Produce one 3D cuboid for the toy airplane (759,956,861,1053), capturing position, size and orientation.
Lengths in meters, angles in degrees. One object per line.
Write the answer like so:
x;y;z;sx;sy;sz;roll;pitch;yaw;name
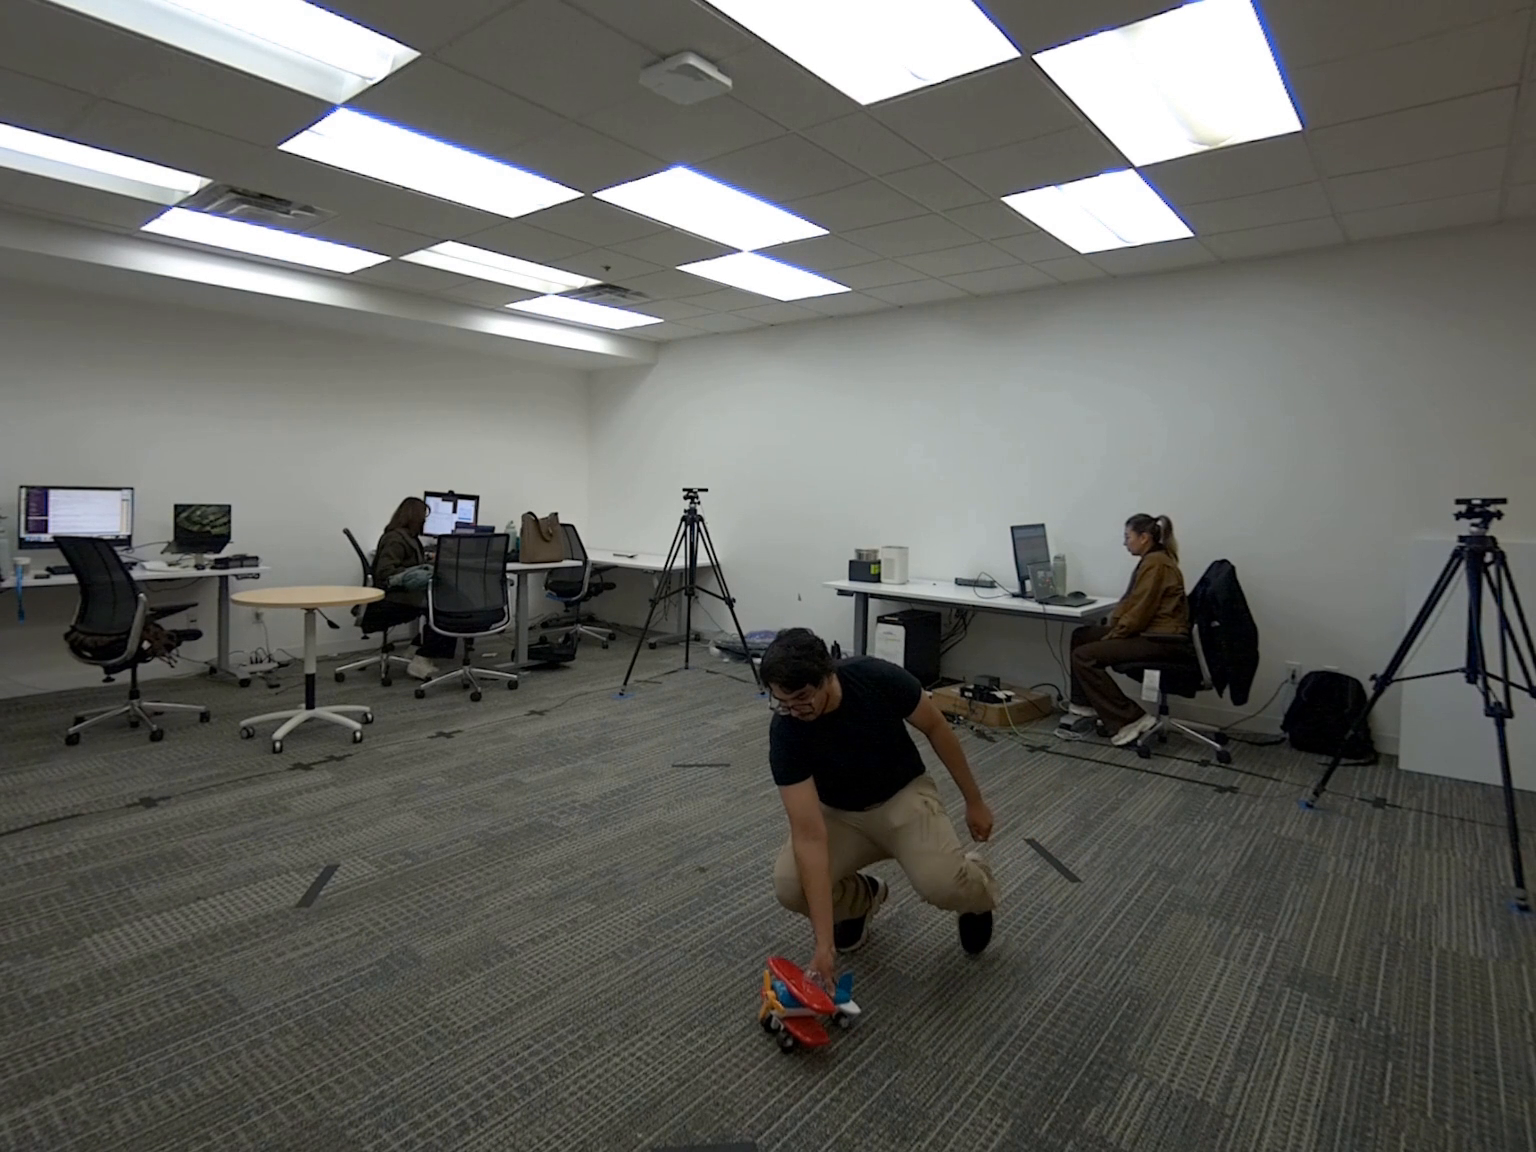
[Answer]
0.095;1.093;2.200;0.259;0.156;0.252;4;7;36;toy airplane
